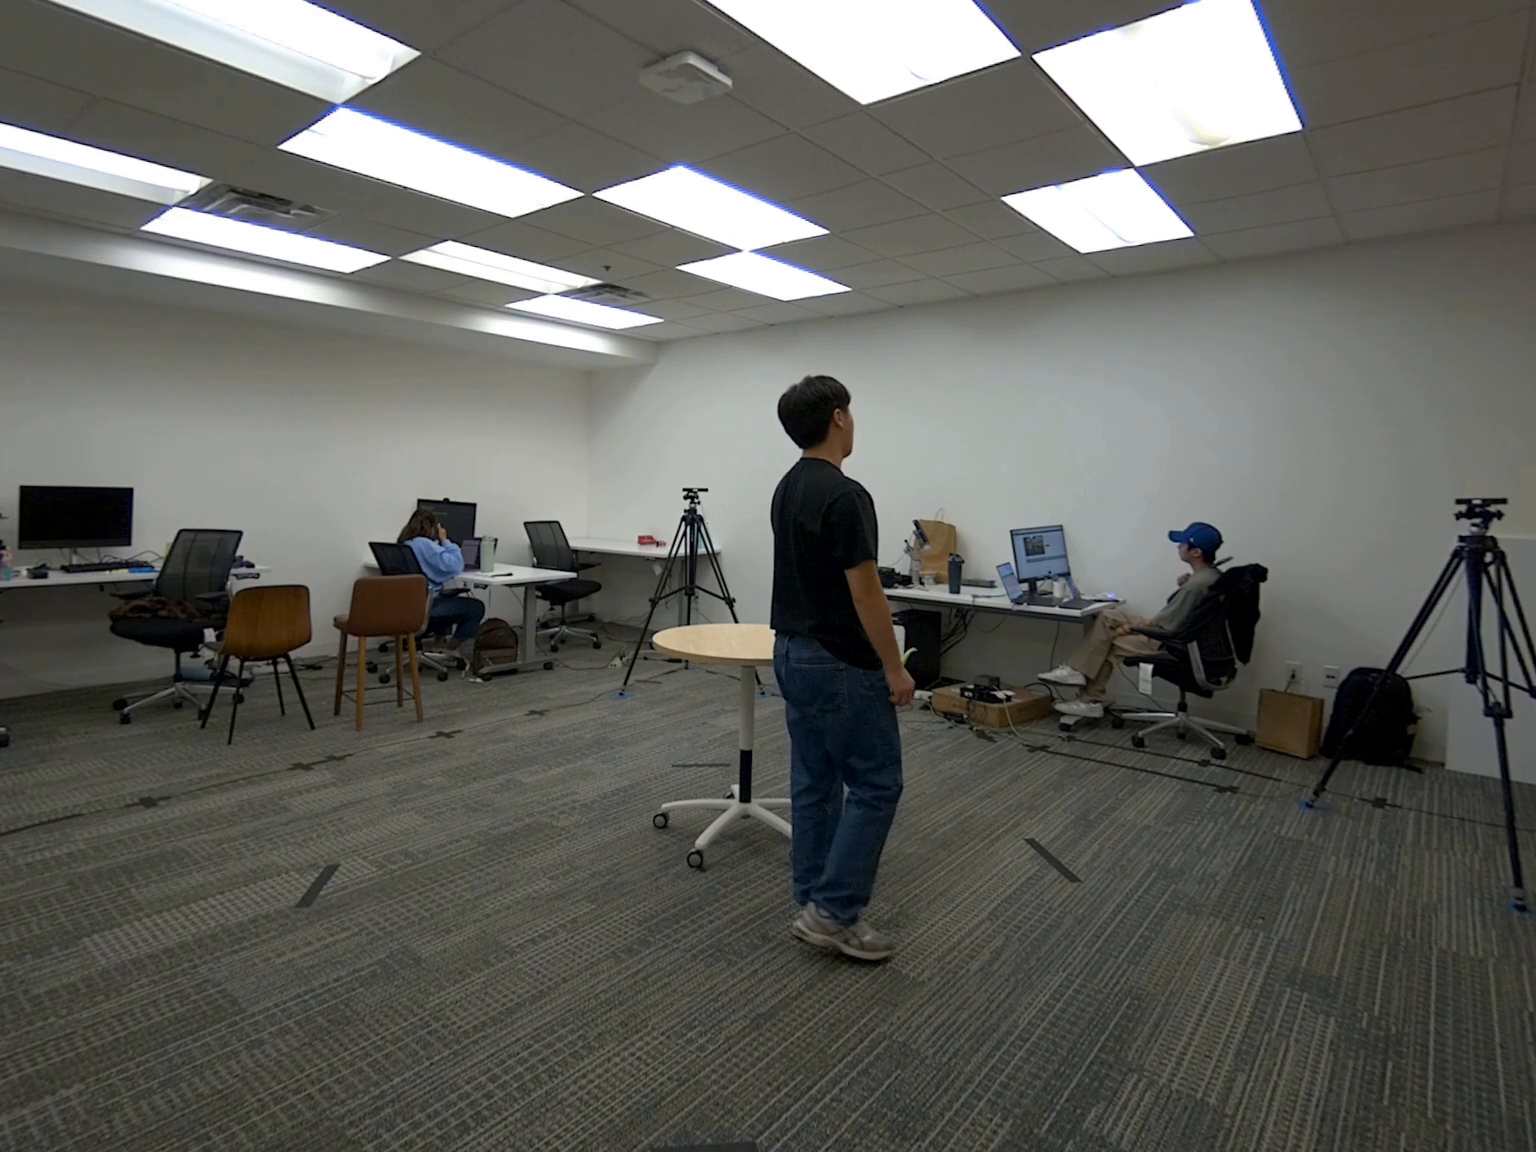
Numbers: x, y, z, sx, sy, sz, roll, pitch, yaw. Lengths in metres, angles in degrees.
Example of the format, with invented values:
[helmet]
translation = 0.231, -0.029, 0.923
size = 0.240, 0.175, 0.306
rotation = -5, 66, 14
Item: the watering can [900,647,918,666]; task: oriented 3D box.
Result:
[watering can]
translation = 0.403, 0.339, 2.974
size = 0.274, 0.177, 0.099
rotation = -1, -1, -15
